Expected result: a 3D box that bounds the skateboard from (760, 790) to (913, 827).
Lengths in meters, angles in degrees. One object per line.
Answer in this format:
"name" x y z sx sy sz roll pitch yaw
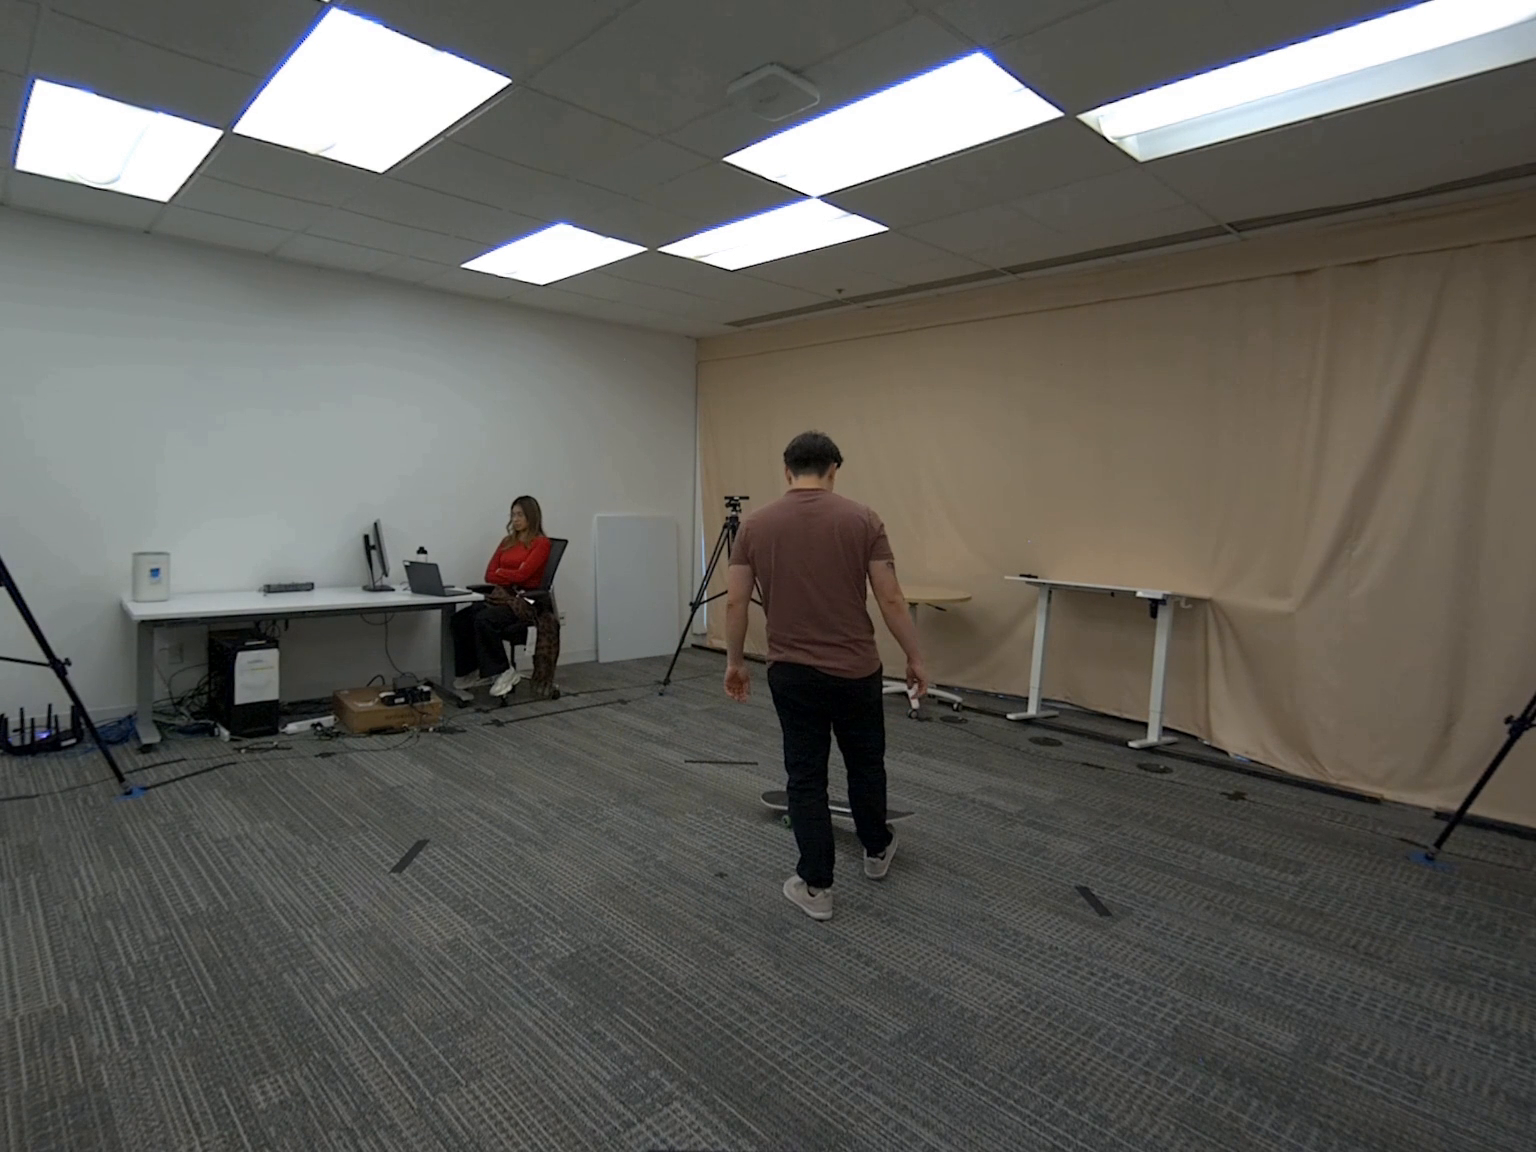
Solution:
"skateboard" 0.266 1.000 3.489 0.189 0.110 0.802 -2 -2 -43
